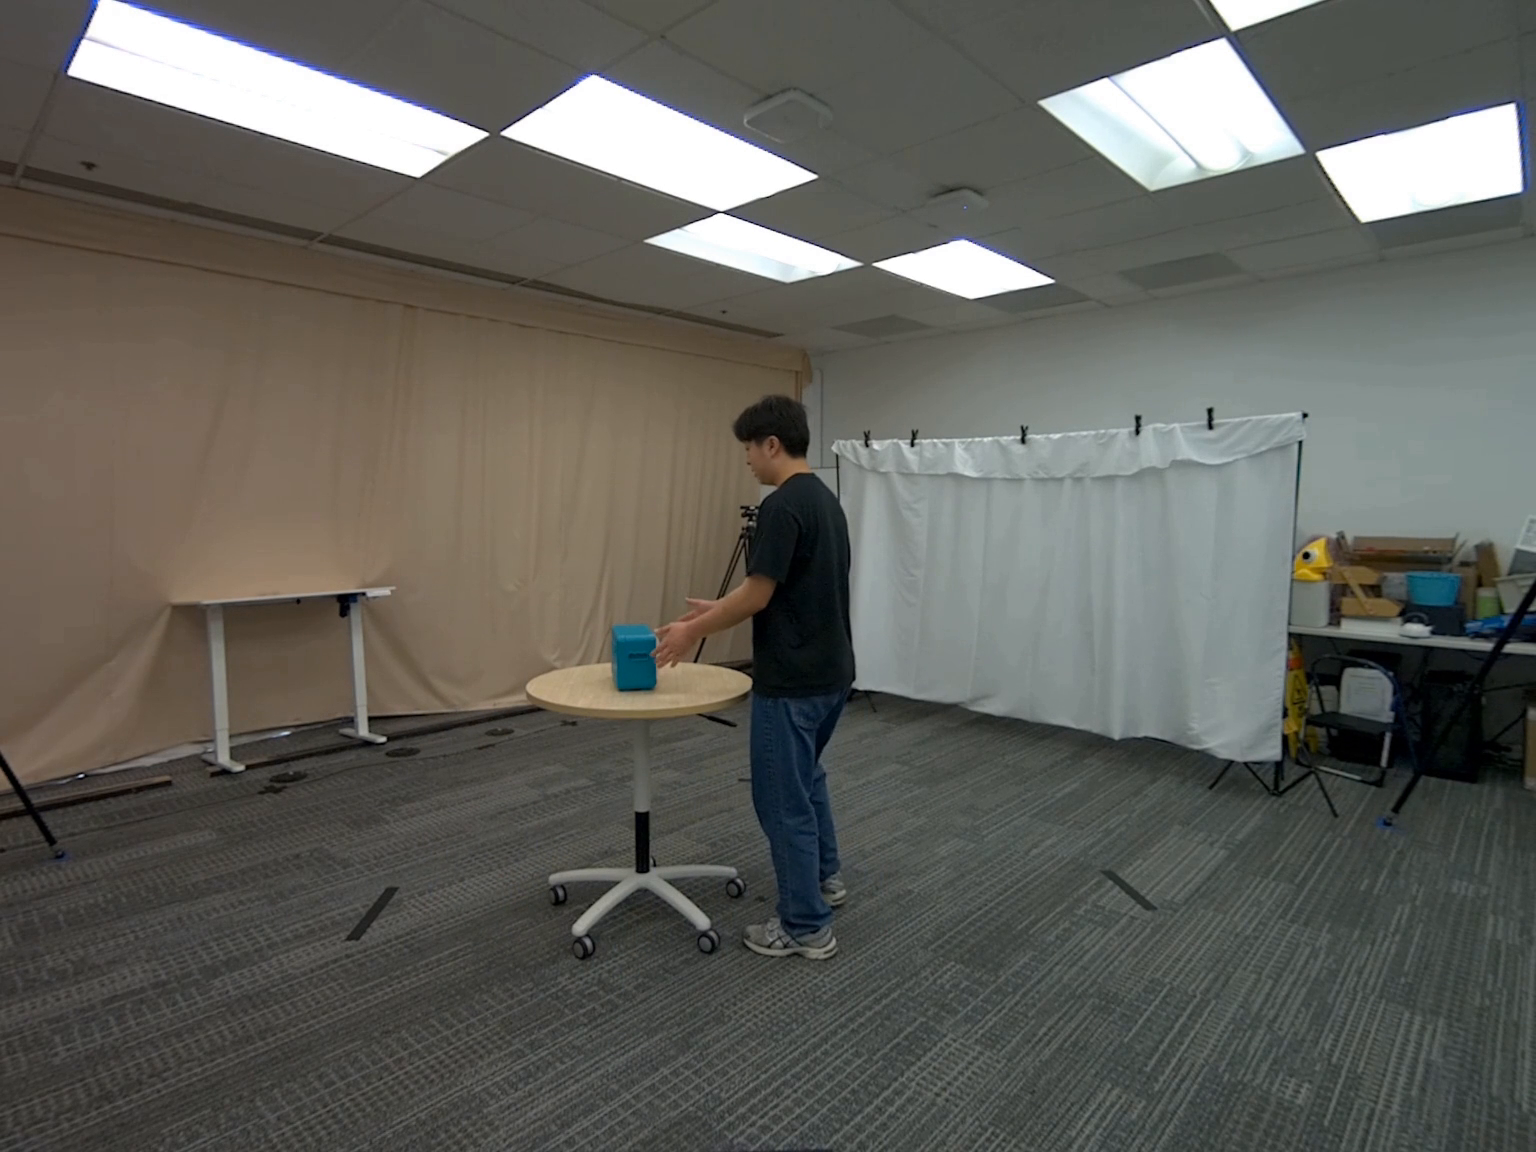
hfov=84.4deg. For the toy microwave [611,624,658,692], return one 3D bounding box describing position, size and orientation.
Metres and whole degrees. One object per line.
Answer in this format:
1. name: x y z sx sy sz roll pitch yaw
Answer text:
1. toy microwave: -0.448 0.269 2.847 0.151 0.184 0.289 0 4 -9
